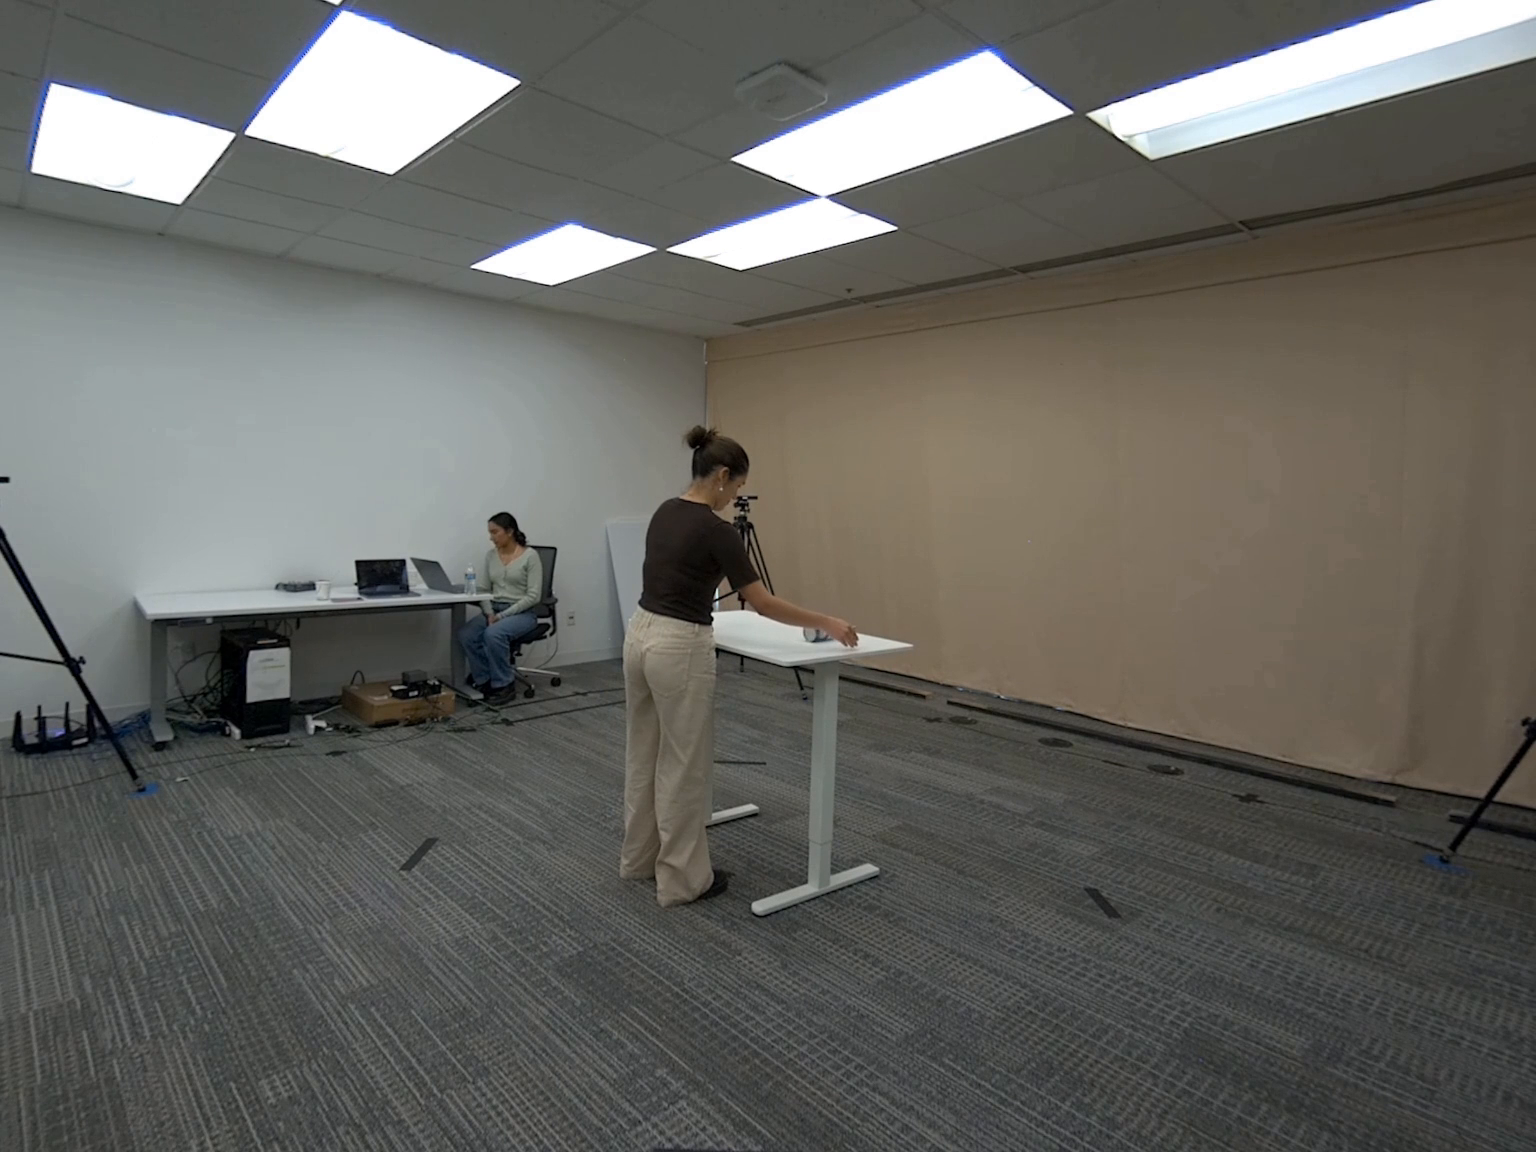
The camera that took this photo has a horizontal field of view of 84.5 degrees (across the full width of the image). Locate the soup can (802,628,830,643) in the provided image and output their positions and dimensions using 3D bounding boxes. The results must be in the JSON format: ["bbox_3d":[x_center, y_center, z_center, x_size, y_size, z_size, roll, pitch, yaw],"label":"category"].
[{"bbox_3d":[0.191,0.203,3.044,0.119,0.067,0.069,-3,6,-36],"label":"soup can"}]
